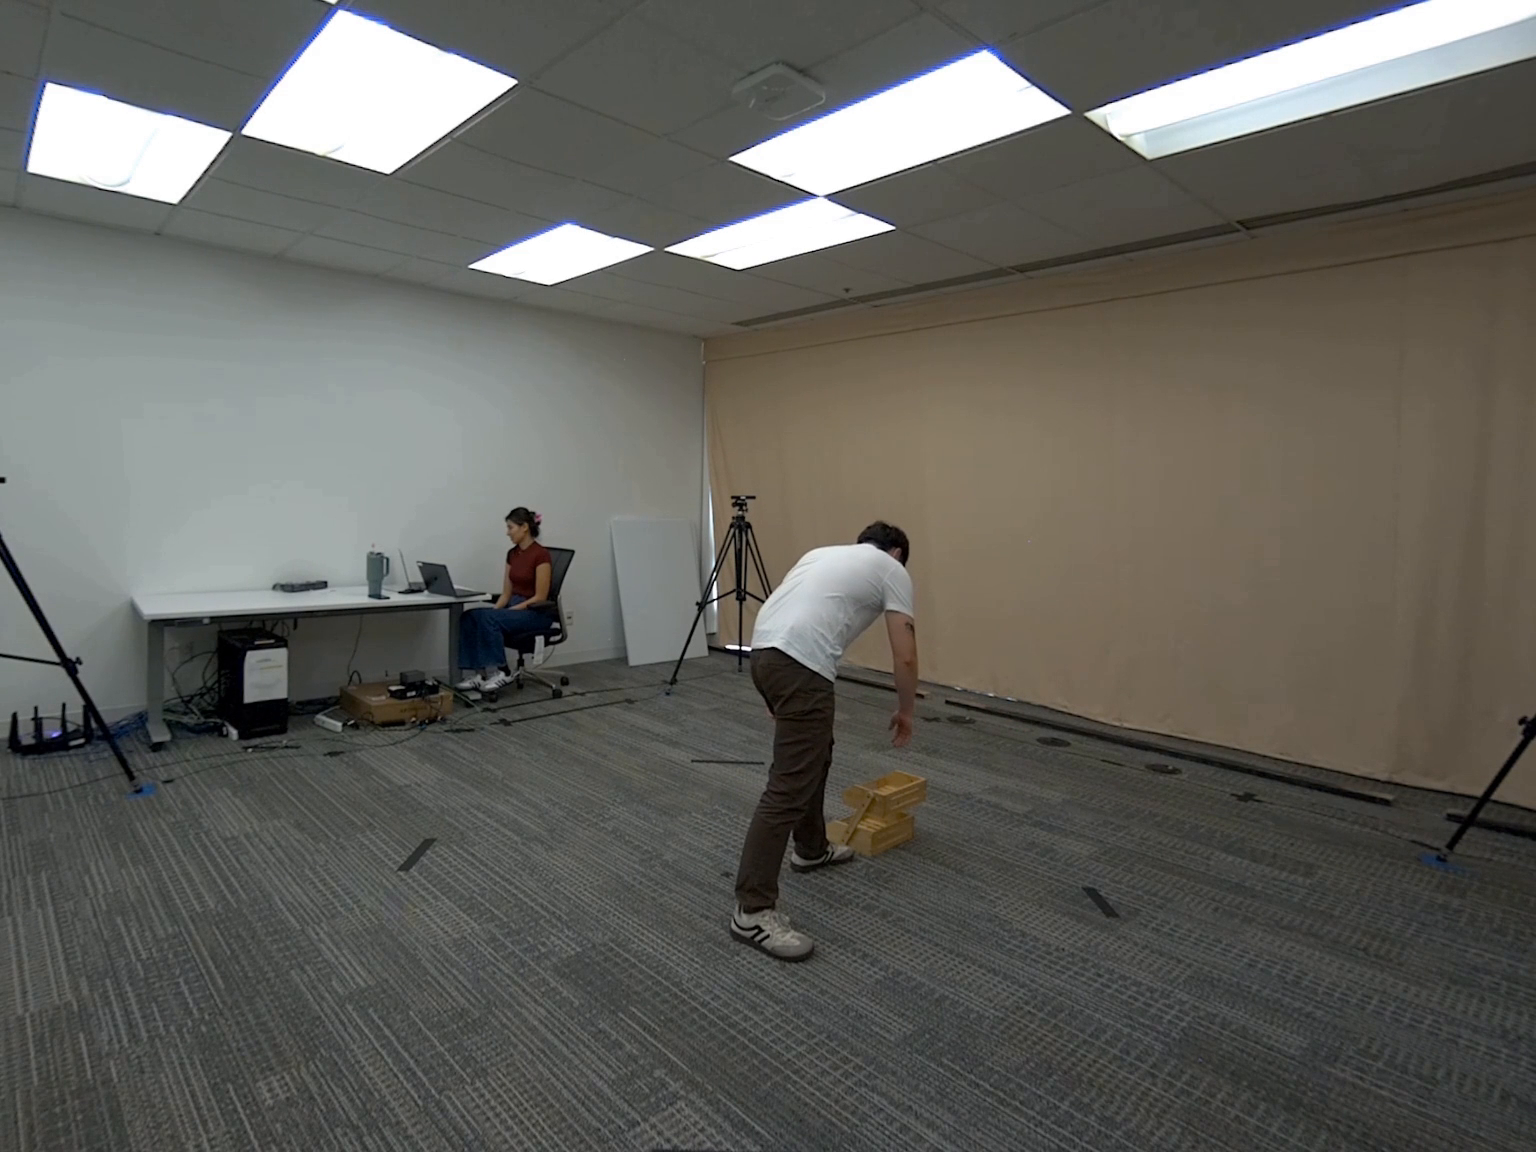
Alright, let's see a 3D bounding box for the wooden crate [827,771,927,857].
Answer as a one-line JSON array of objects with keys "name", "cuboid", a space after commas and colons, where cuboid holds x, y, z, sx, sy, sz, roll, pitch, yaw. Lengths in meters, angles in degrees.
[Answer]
[{"name": "wooden crate", "cuboid": [0.426, 0.949, 3.456, 0.310, 0.272, 0.317, 6, 6, 43]}]
